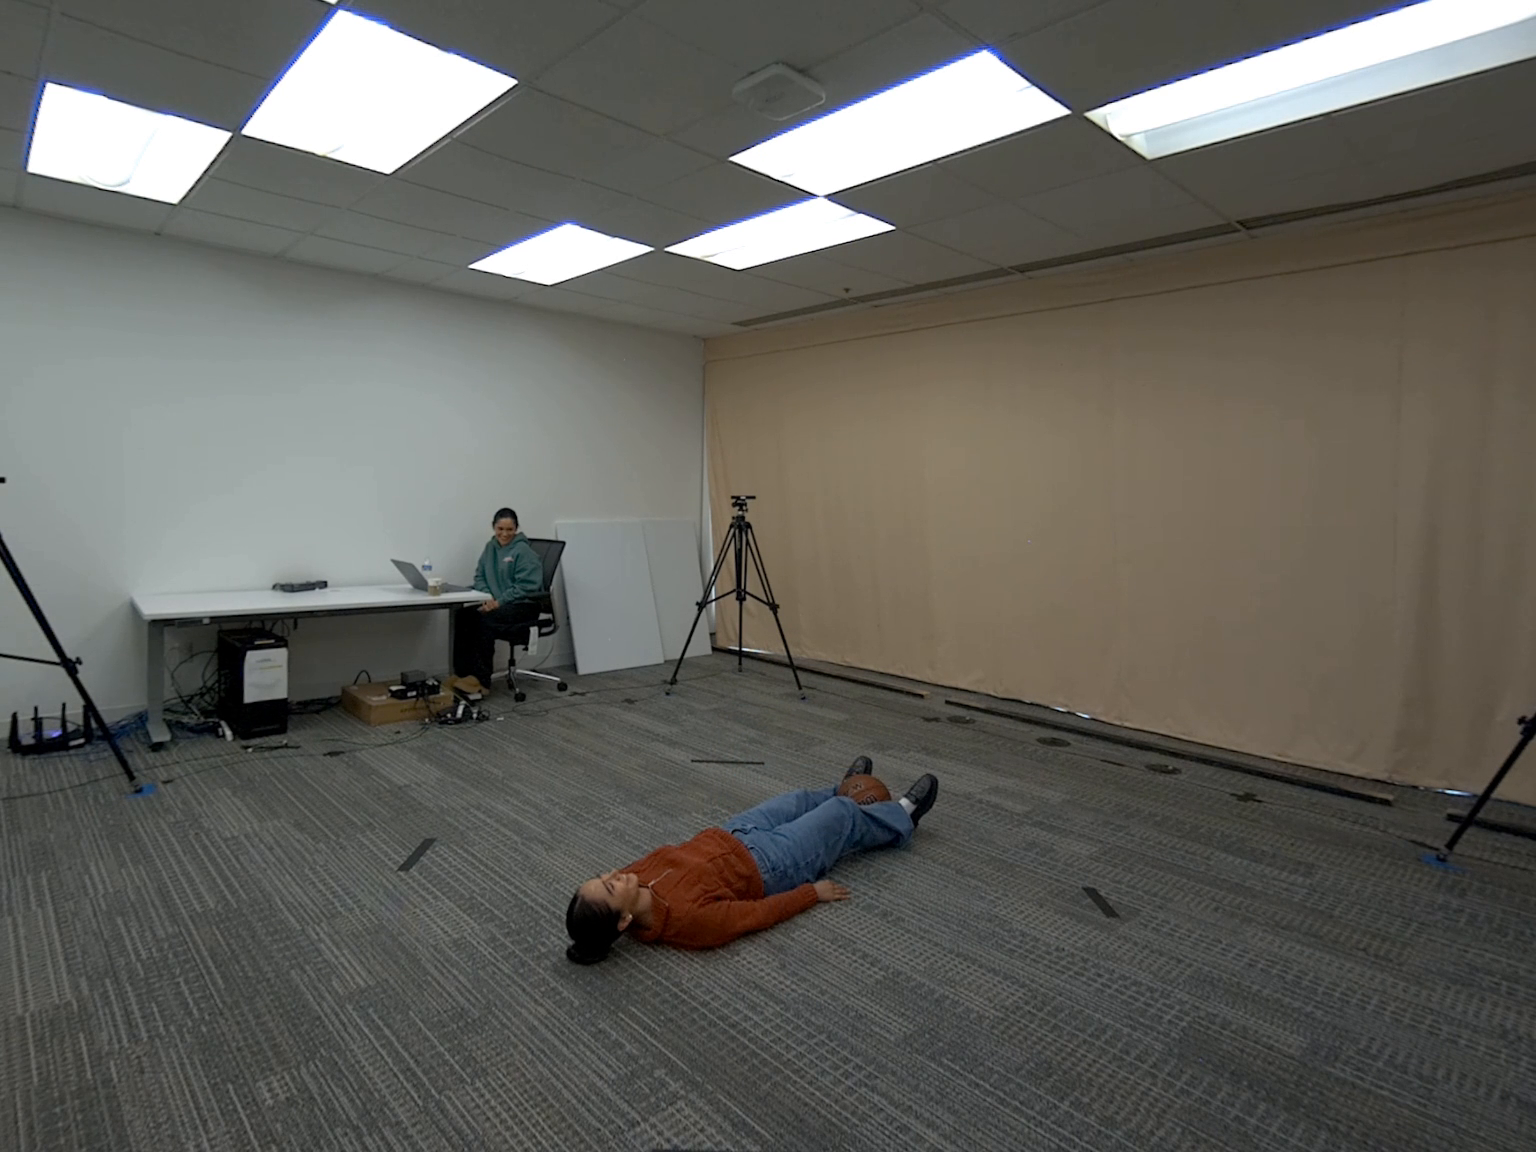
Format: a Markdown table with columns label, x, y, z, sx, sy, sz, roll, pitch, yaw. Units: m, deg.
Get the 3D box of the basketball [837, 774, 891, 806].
| label | x | y | z | sx | sy | sz | roll | pitch | yaw |
| --- | --- | --- | --- | --- | --- | --- | --- | --- | --- |
| basketball | 0.401 | 0.963 | 3.548 | 0.236 | 0.235 | 0.237 | 1 | 4 | -1 |
